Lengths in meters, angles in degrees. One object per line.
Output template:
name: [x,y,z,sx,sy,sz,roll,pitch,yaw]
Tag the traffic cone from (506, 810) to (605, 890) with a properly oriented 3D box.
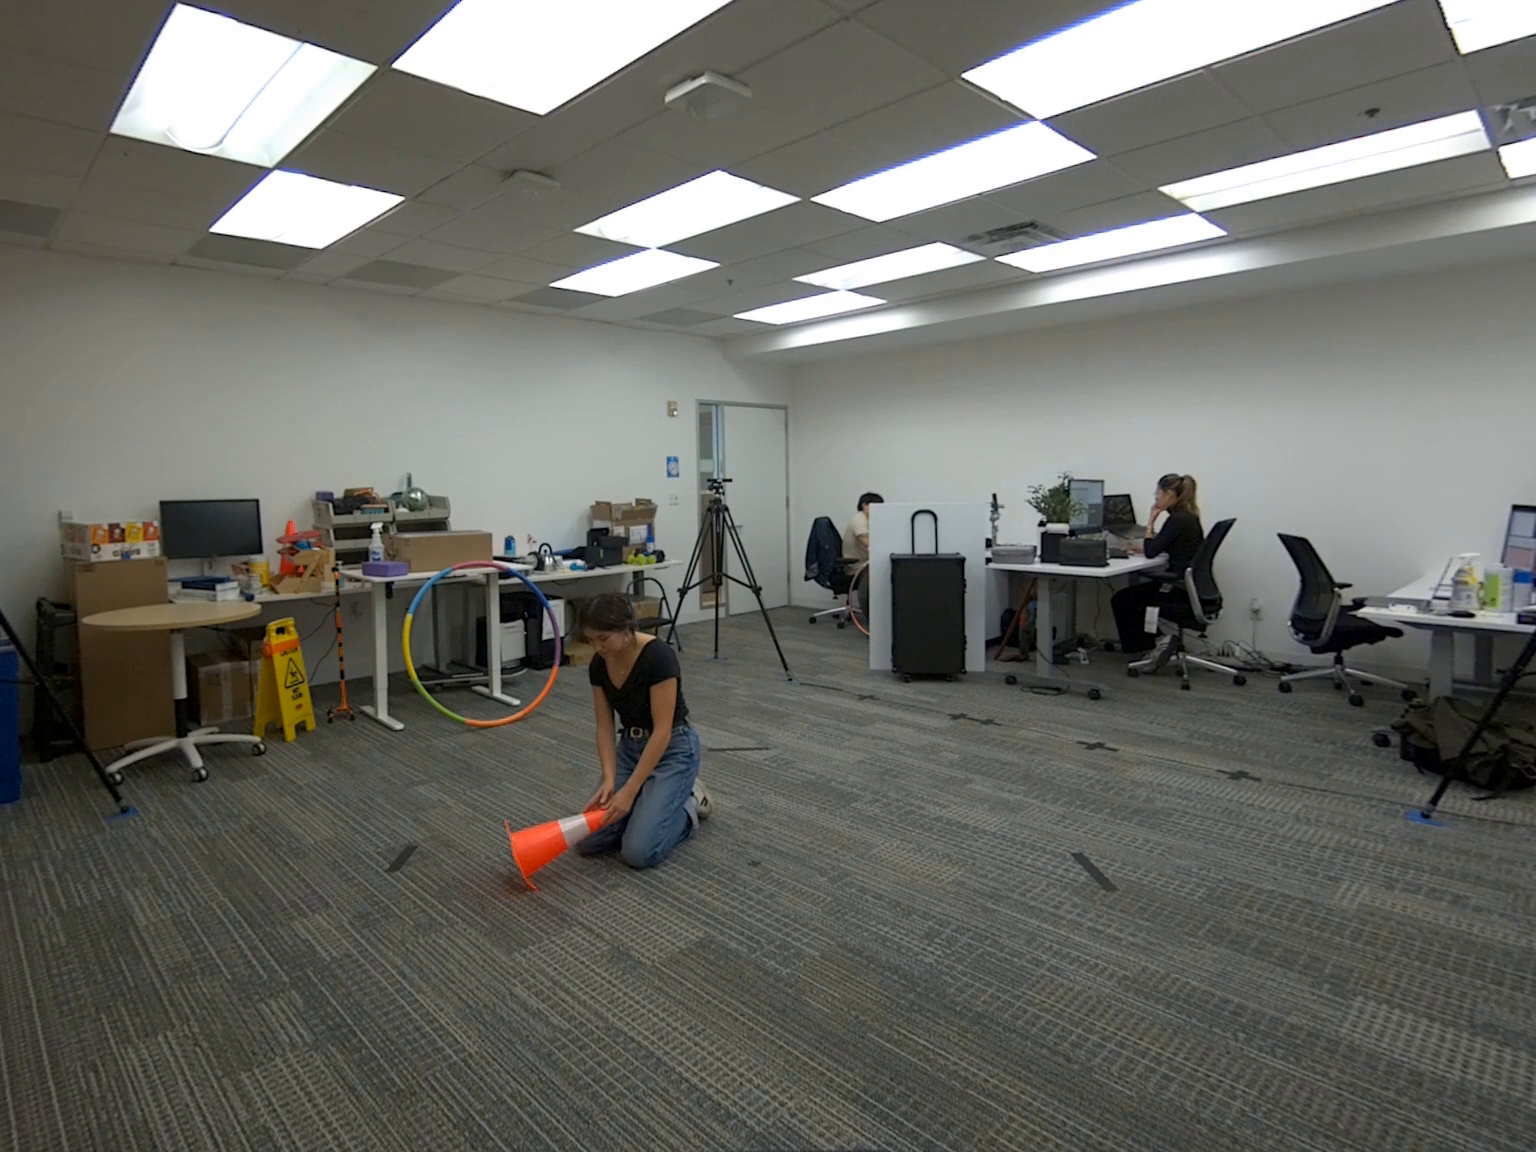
traffic cone: [-0.706,0.904,3.025,0.380,0.198,0.212,-21,26,-19]
